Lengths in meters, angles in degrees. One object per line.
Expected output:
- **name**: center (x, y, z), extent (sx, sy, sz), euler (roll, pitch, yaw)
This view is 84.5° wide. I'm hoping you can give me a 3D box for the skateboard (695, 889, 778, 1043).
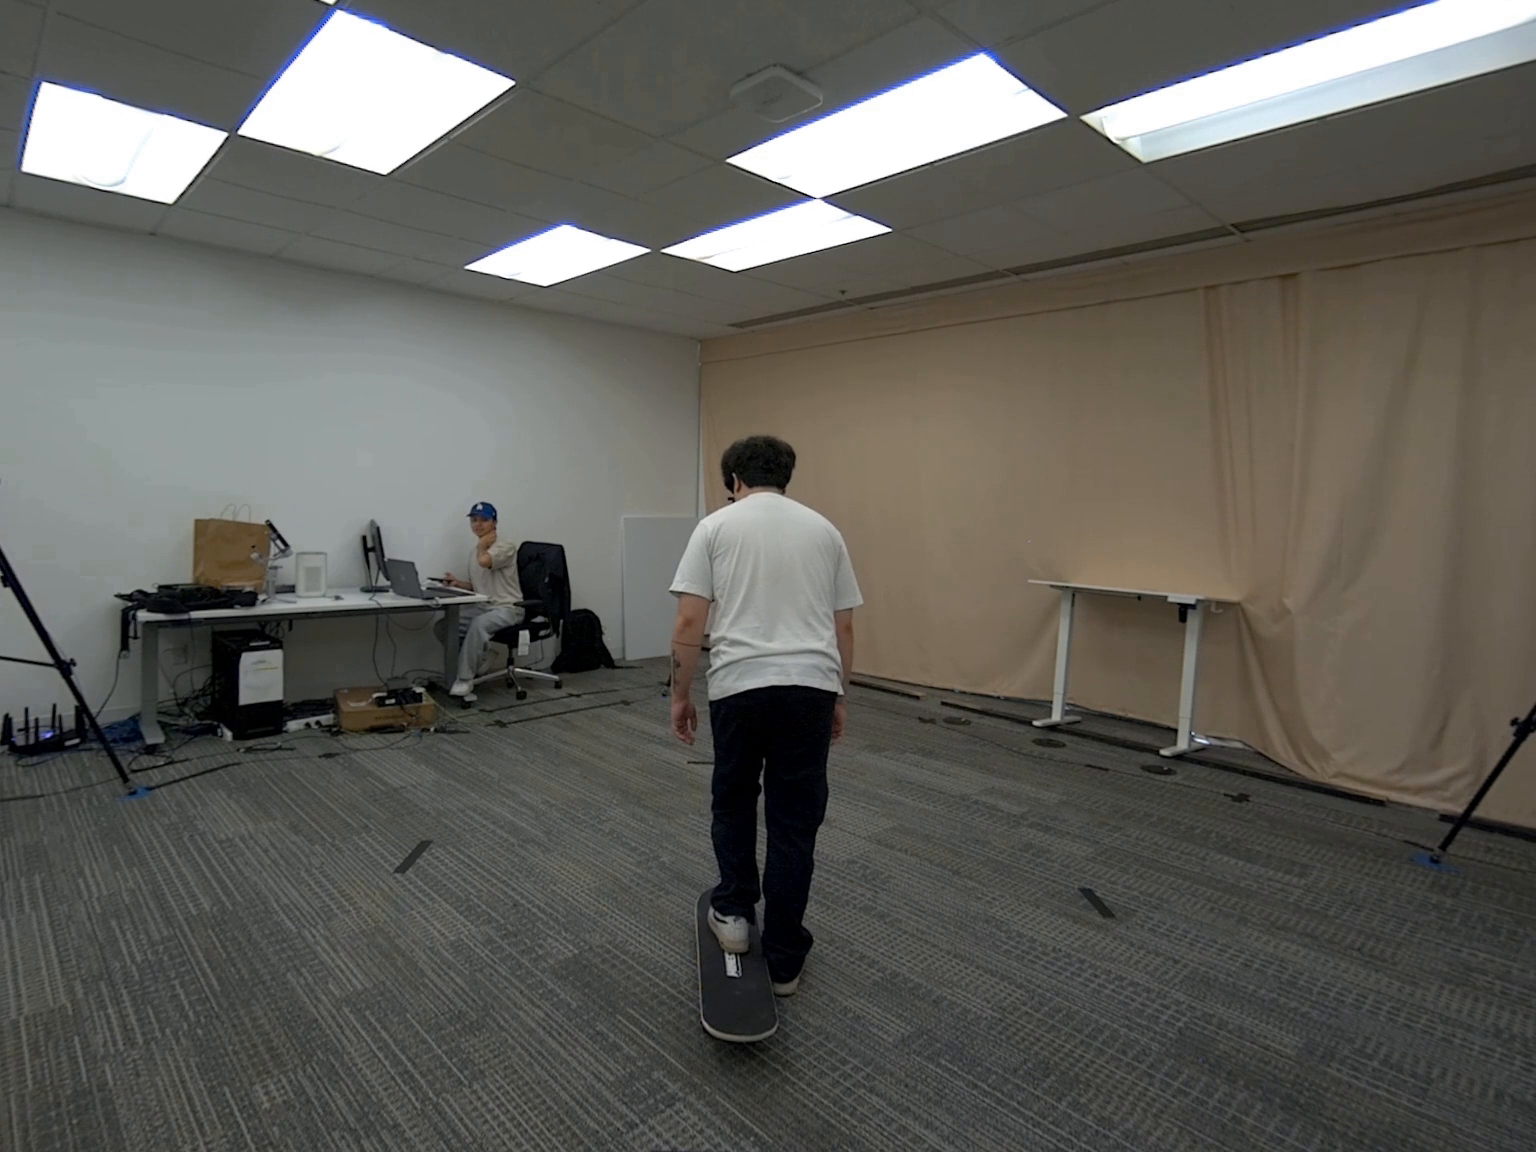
- **skateboard**: center (-0.111, 1.119, 2.397), extent (0.192, 0.110, 0.791), euler (2, 5, -7)
